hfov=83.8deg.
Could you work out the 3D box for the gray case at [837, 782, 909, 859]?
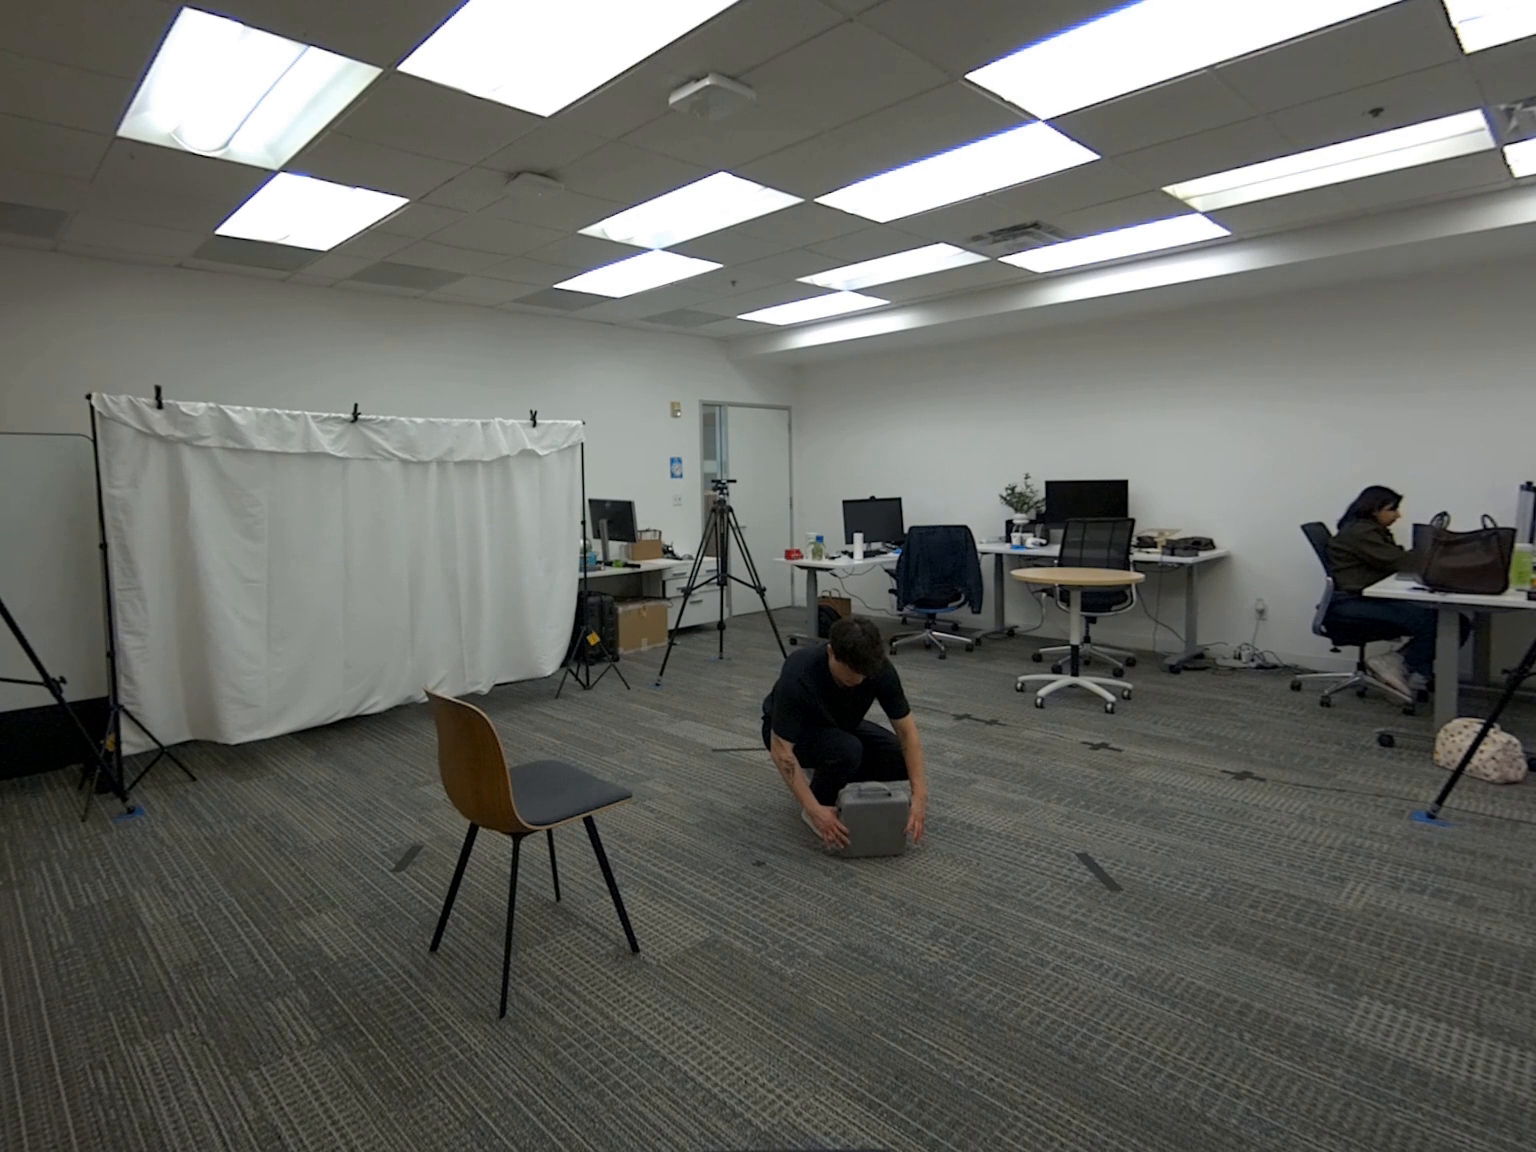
[{"bbox_3d":[0.388,0.903,3.143,0.256,0.256,0.106,-1,19,-5],"label":"gray case"}]
